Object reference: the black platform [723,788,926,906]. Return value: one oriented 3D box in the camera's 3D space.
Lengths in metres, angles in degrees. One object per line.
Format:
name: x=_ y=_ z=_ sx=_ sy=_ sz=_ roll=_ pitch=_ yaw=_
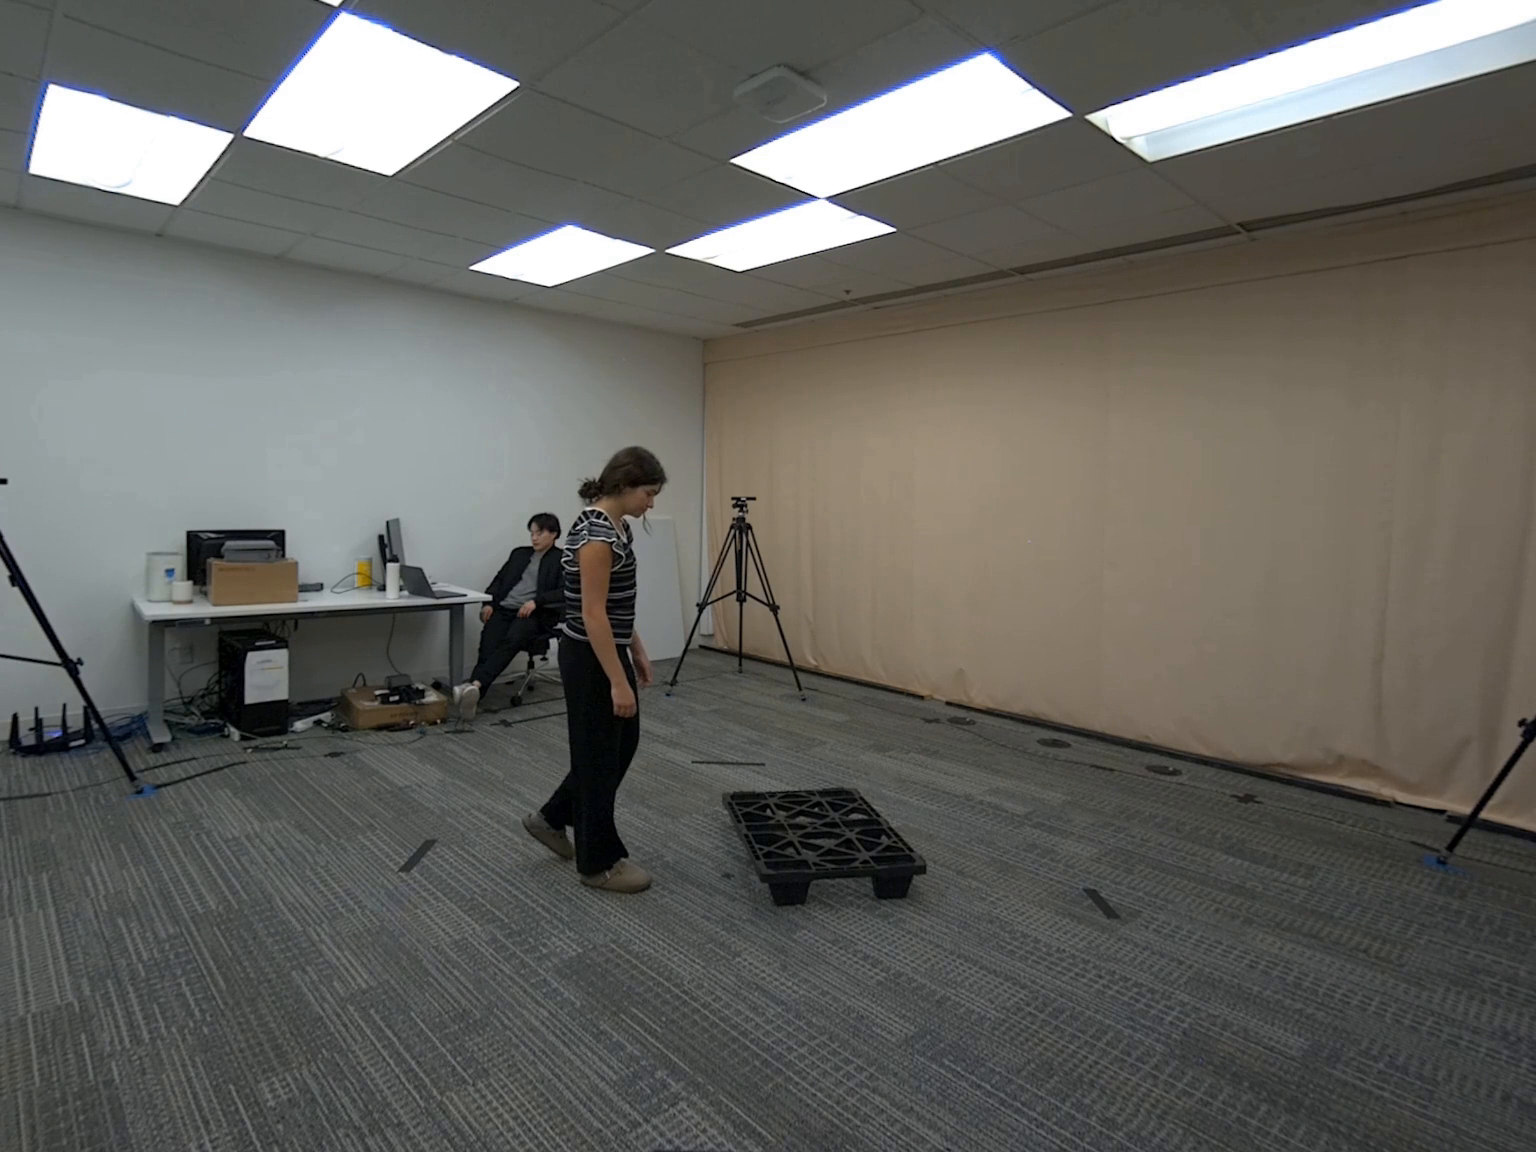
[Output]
black platform: x=0.171 y=1.031 z=3.273 sx=0.599 sy=0.143 sz=0.815 roll=1 pitch=5 yaw=-12
